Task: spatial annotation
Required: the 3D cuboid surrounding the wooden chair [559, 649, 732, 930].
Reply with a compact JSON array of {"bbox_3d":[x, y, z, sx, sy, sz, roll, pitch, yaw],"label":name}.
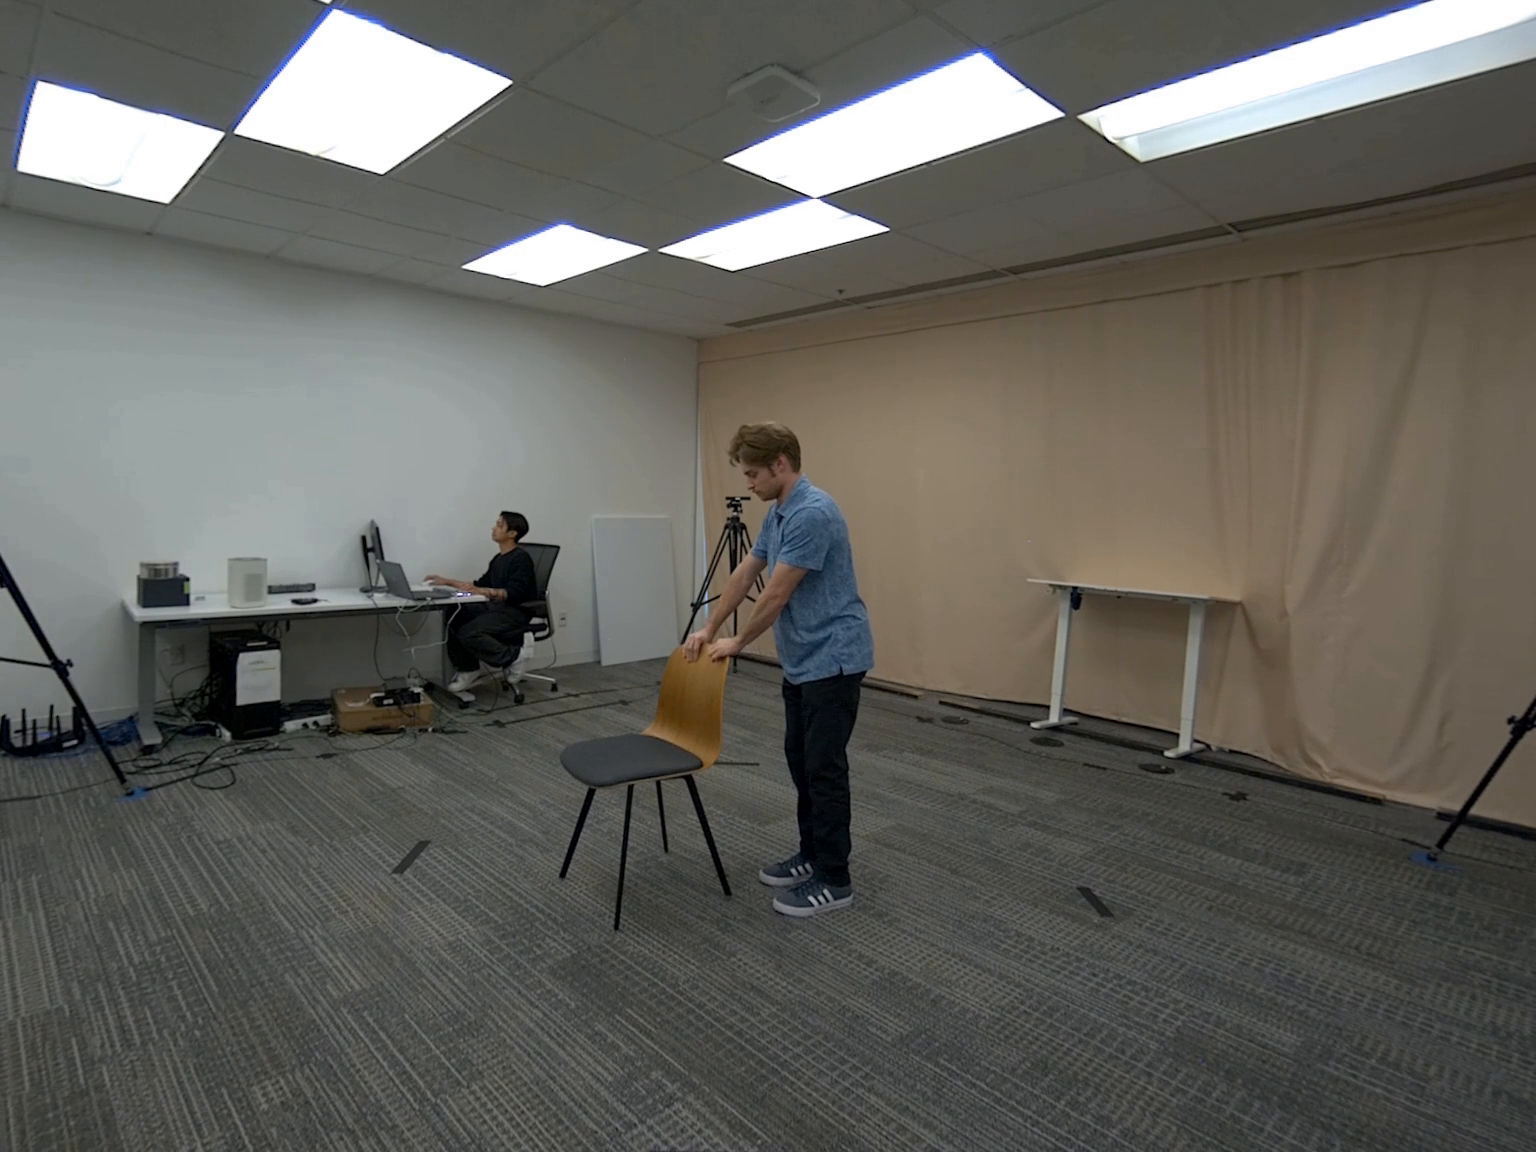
[{"bbox_3d":[-0.440,0.684,2.966,0.510,0.877,0.490,4,1,-36],"label":"wooden chair"}]
